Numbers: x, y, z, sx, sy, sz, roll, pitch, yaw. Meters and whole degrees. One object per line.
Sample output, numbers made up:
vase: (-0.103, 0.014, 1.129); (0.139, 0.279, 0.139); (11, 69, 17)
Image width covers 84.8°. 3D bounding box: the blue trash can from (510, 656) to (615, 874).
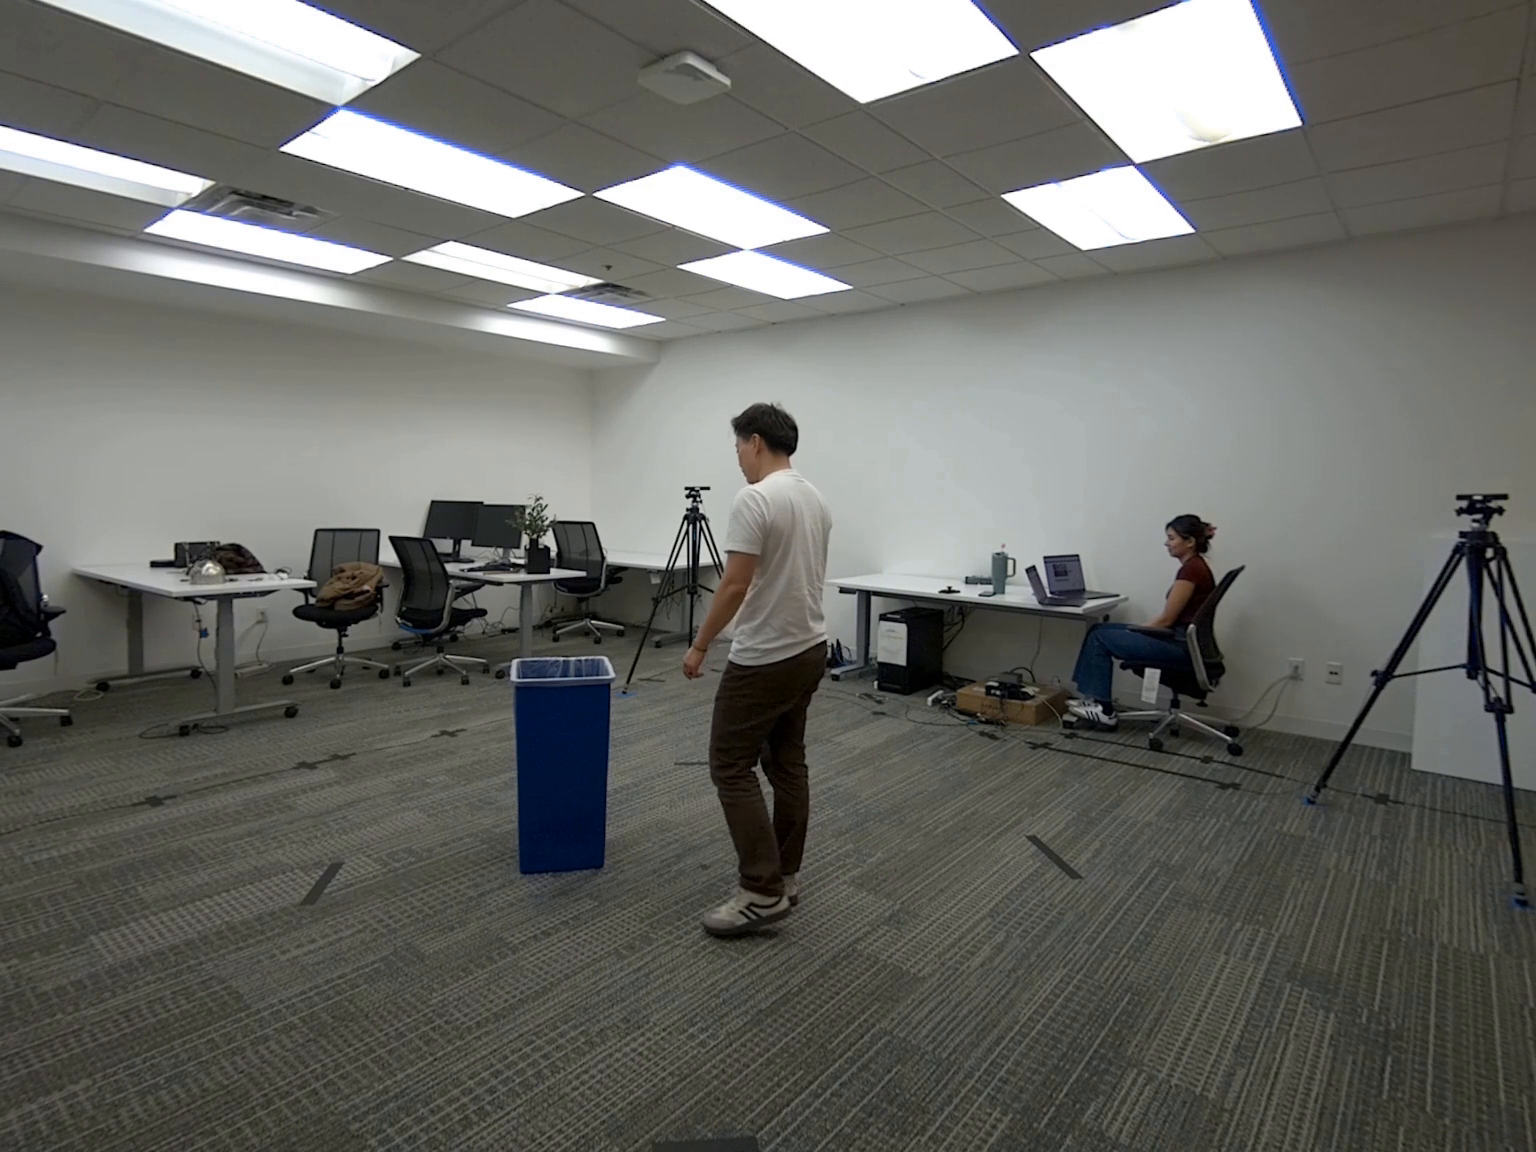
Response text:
blue trash can: (-0.795, 0.694, 3.187); (0.369, 0.711, 0.385); (0, 4, -14)
